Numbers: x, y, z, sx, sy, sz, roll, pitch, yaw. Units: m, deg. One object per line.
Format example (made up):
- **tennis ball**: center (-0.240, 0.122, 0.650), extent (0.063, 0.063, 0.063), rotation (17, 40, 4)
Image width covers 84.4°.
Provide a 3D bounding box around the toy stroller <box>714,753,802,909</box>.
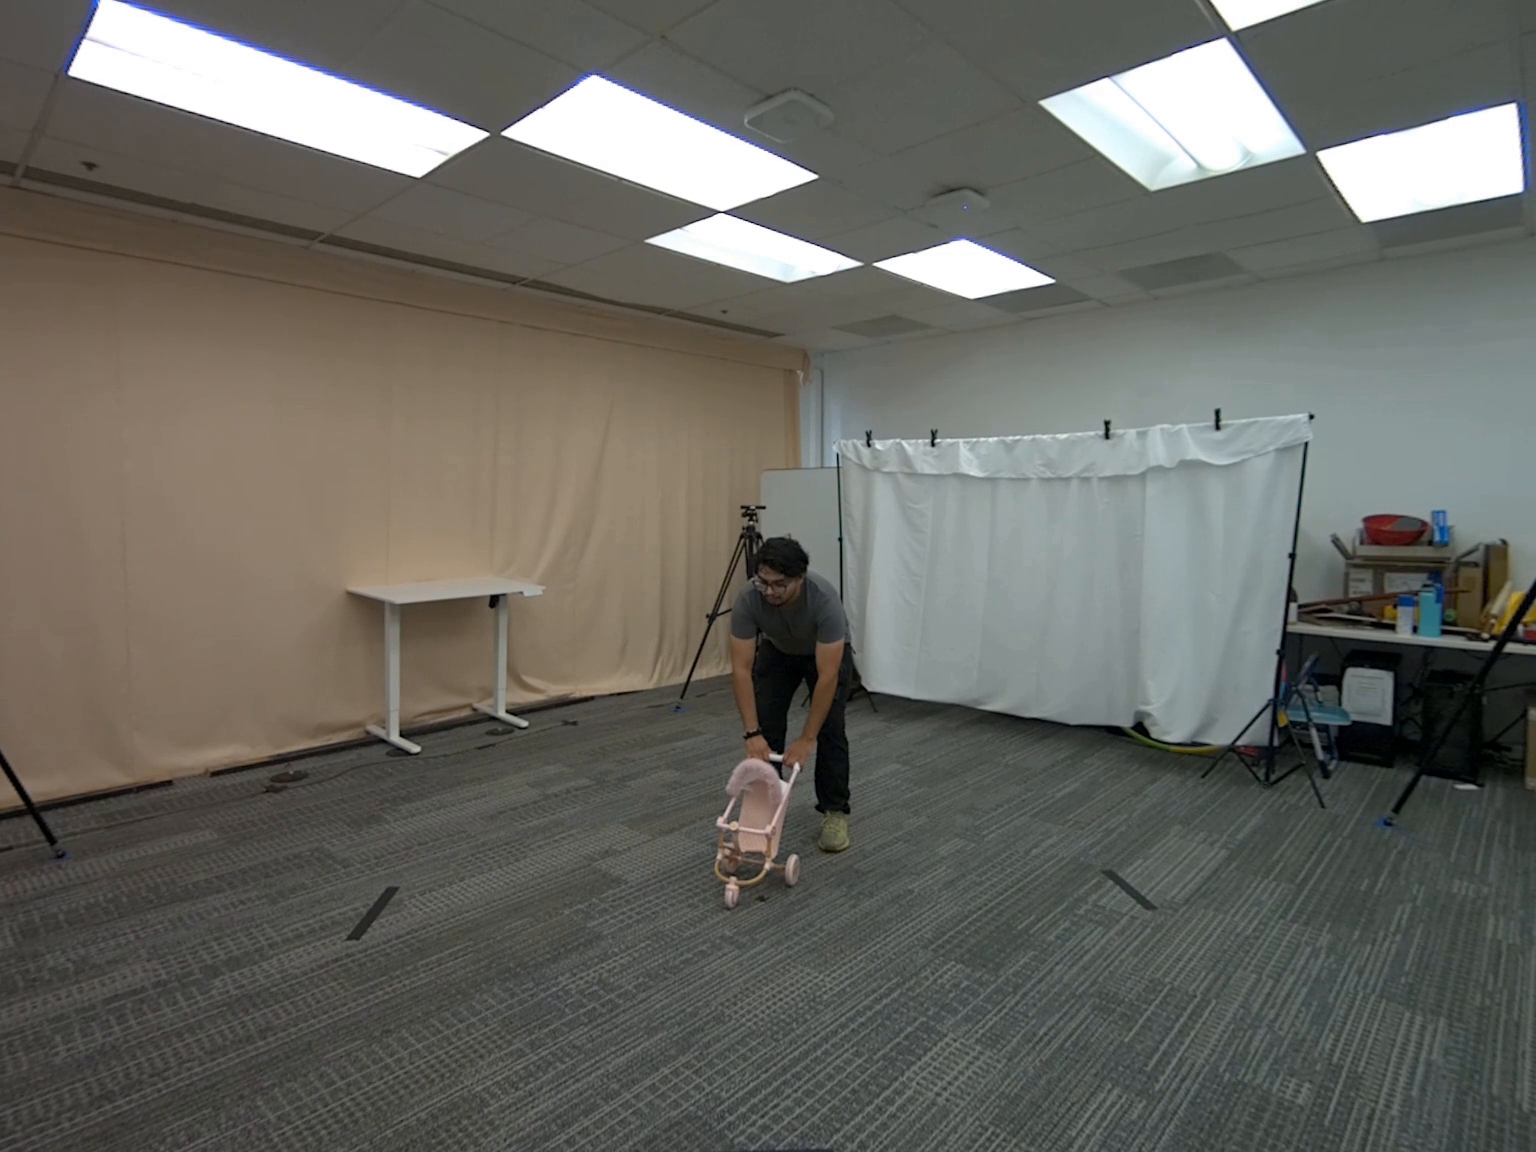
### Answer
- **toy stroller**: center (-0.054, 0.912, 3.081), extent (0.289, 0.538, 0.330), rotation (1, -14, 29)
